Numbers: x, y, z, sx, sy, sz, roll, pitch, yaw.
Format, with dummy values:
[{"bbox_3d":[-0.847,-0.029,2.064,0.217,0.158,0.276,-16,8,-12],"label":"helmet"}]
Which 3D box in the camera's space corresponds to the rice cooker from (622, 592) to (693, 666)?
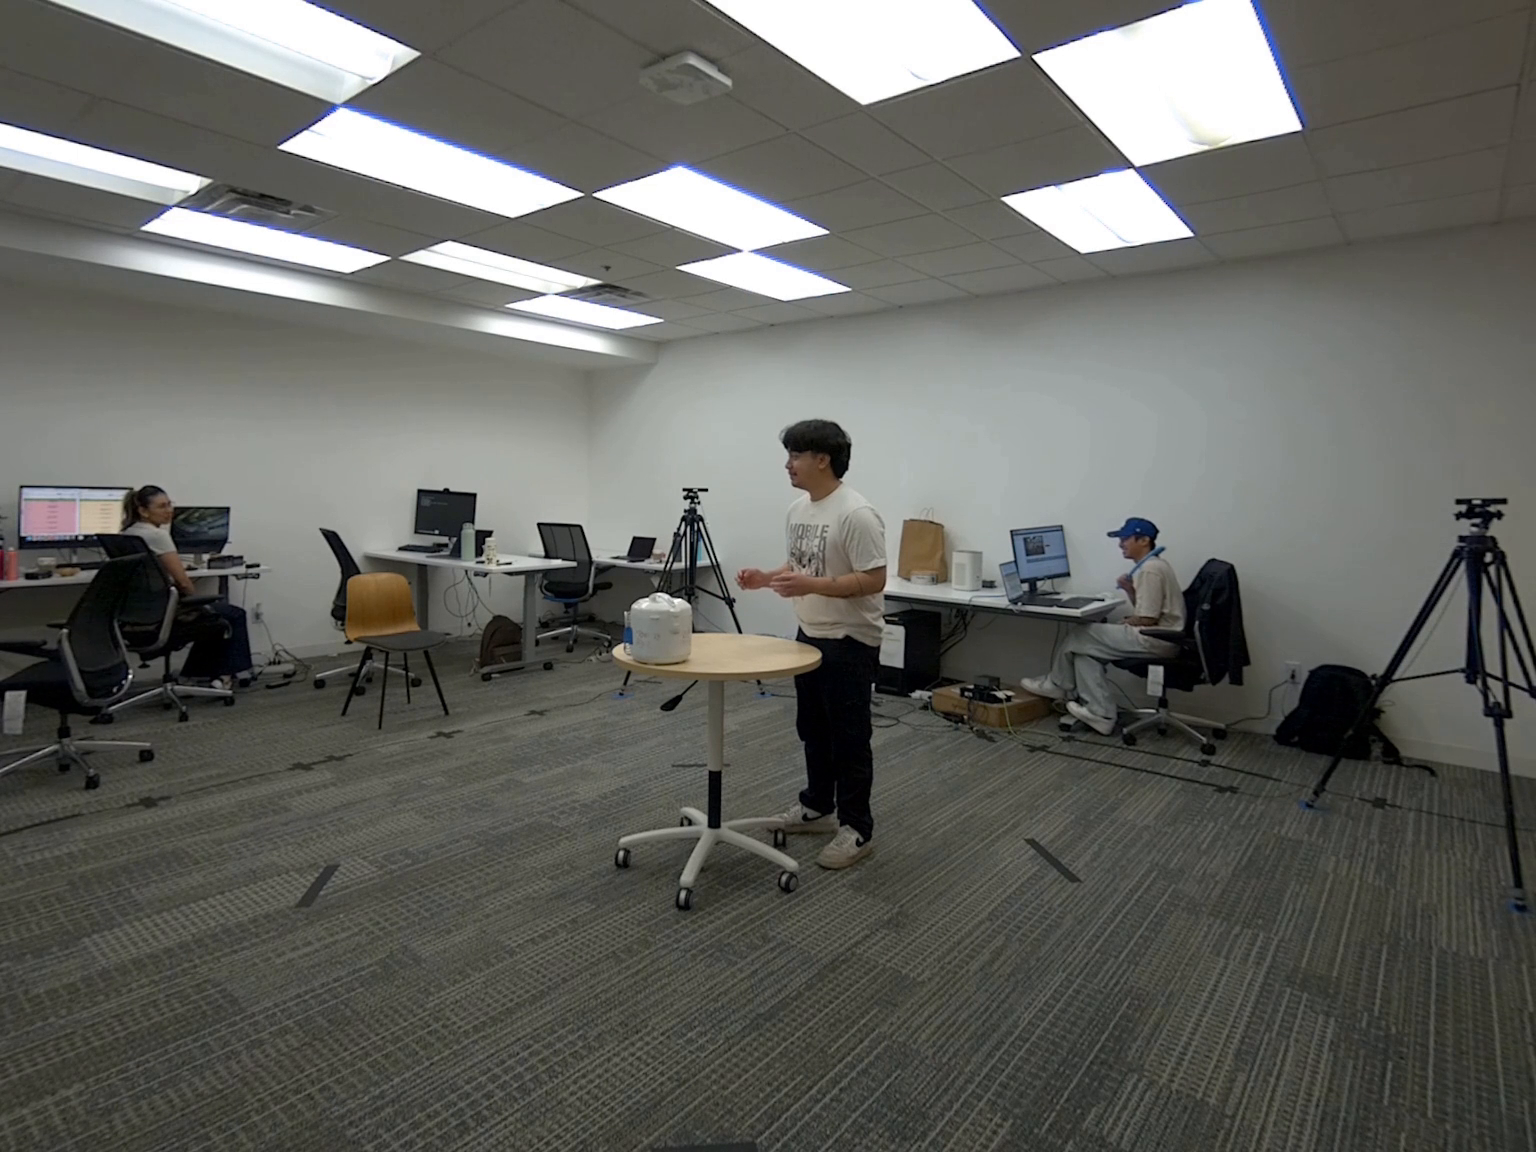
[{"bbox_3d":[-0.378,0.171,2.932,0.212,0.232,0.227,-3,6,-32],"label":"rice cooker"}]
